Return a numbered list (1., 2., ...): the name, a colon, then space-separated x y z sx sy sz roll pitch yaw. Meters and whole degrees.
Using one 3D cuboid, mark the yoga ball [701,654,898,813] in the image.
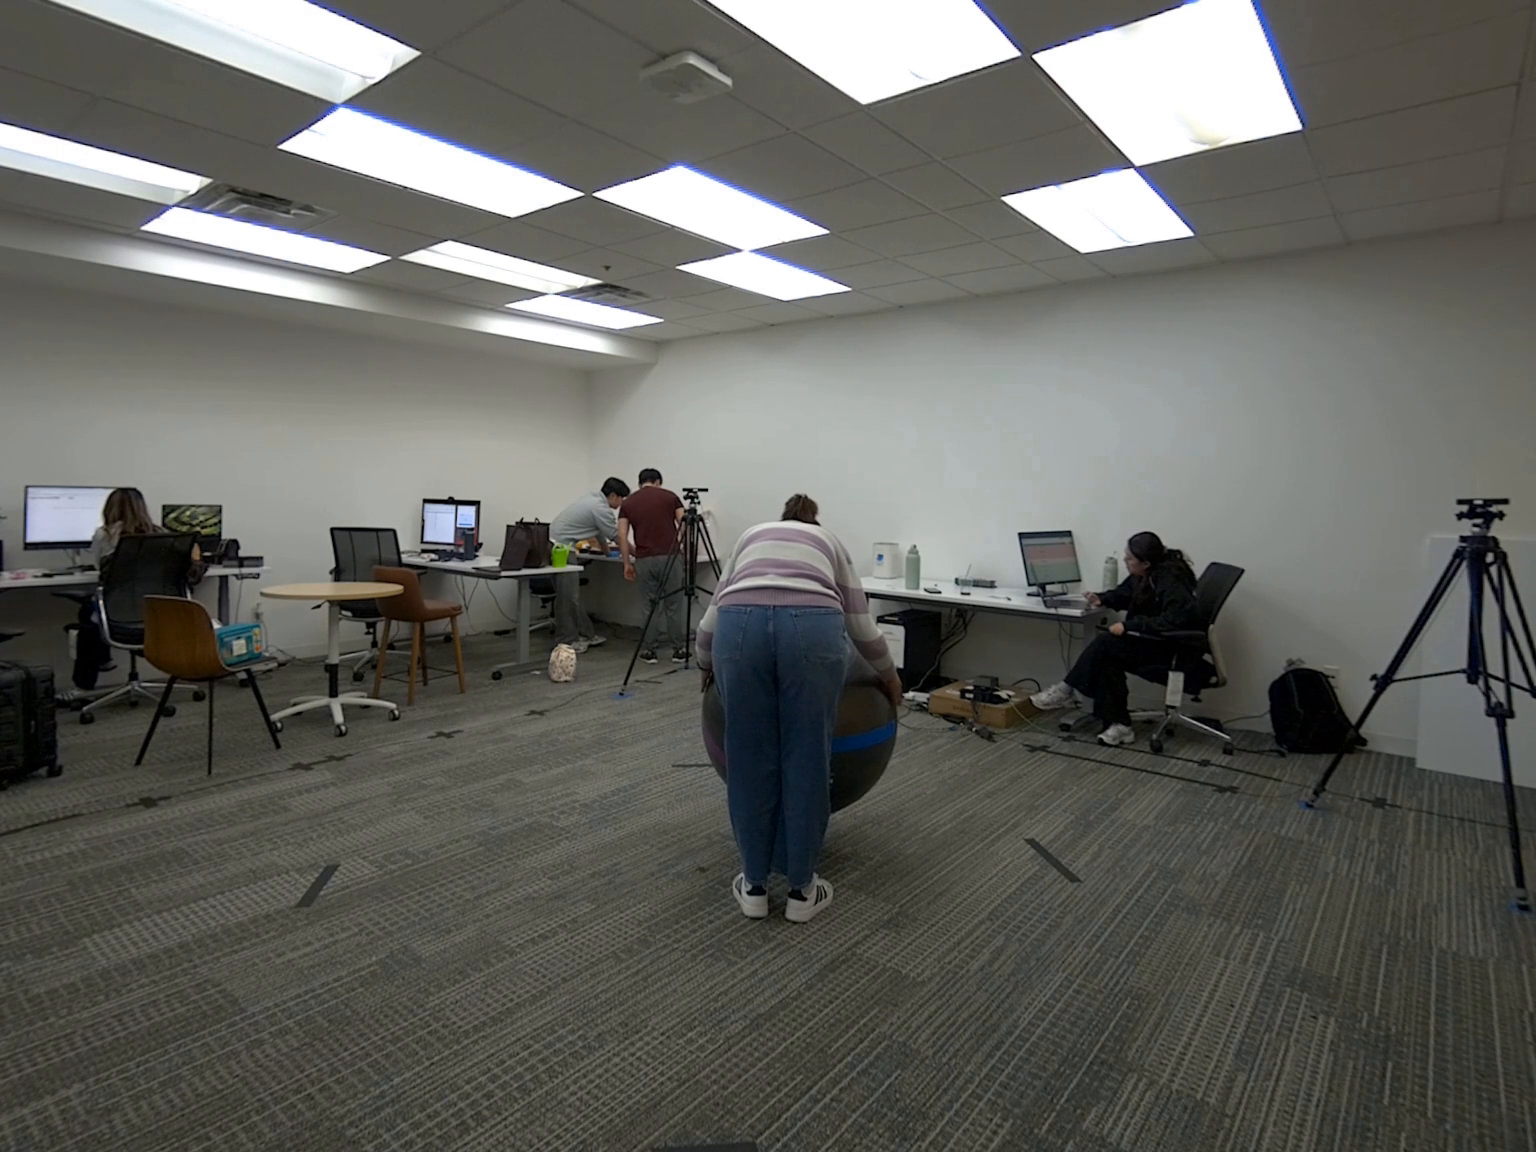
1. yoga ball: 0.123 0.550 3.310 0.757 0.755 0.762 1 4 -2
